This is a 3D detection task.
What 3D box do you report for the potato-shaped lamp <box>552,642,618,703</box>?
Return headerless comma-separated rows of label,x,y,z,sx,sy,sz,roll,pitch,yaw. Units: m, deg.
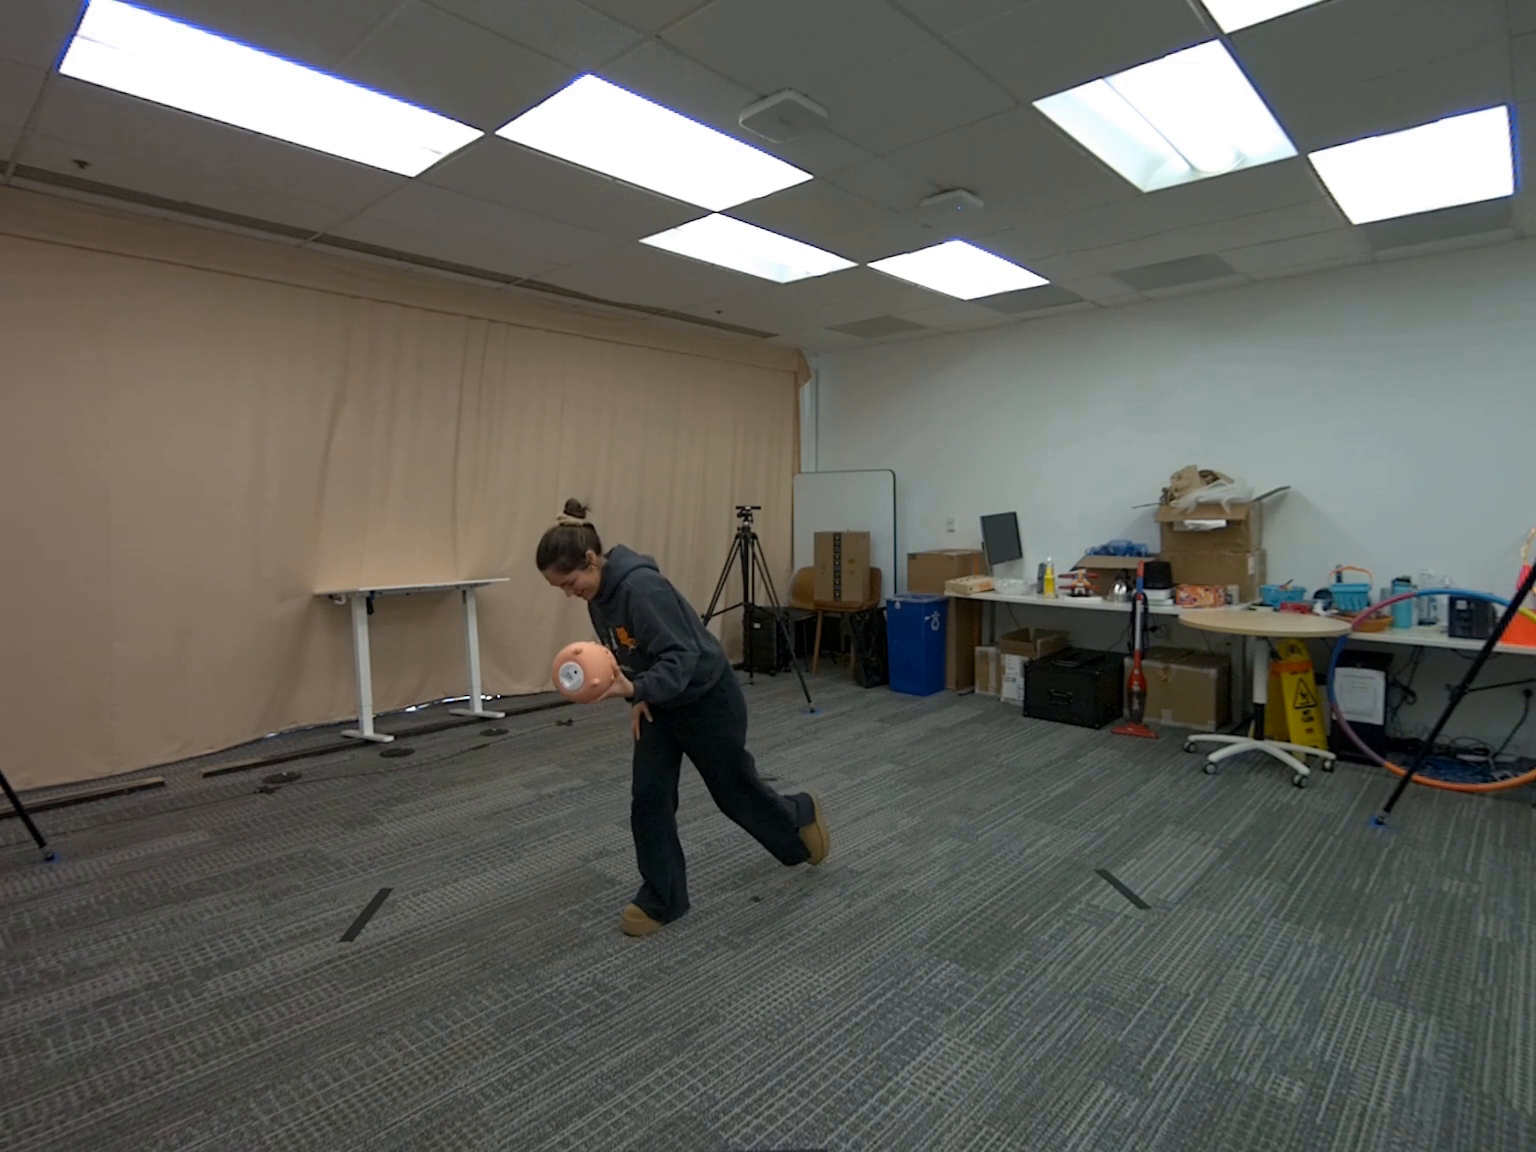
potato-shaped lamp,-0.490,0.267,2.379,0.173,0.166,0.194,-37,-8,22
